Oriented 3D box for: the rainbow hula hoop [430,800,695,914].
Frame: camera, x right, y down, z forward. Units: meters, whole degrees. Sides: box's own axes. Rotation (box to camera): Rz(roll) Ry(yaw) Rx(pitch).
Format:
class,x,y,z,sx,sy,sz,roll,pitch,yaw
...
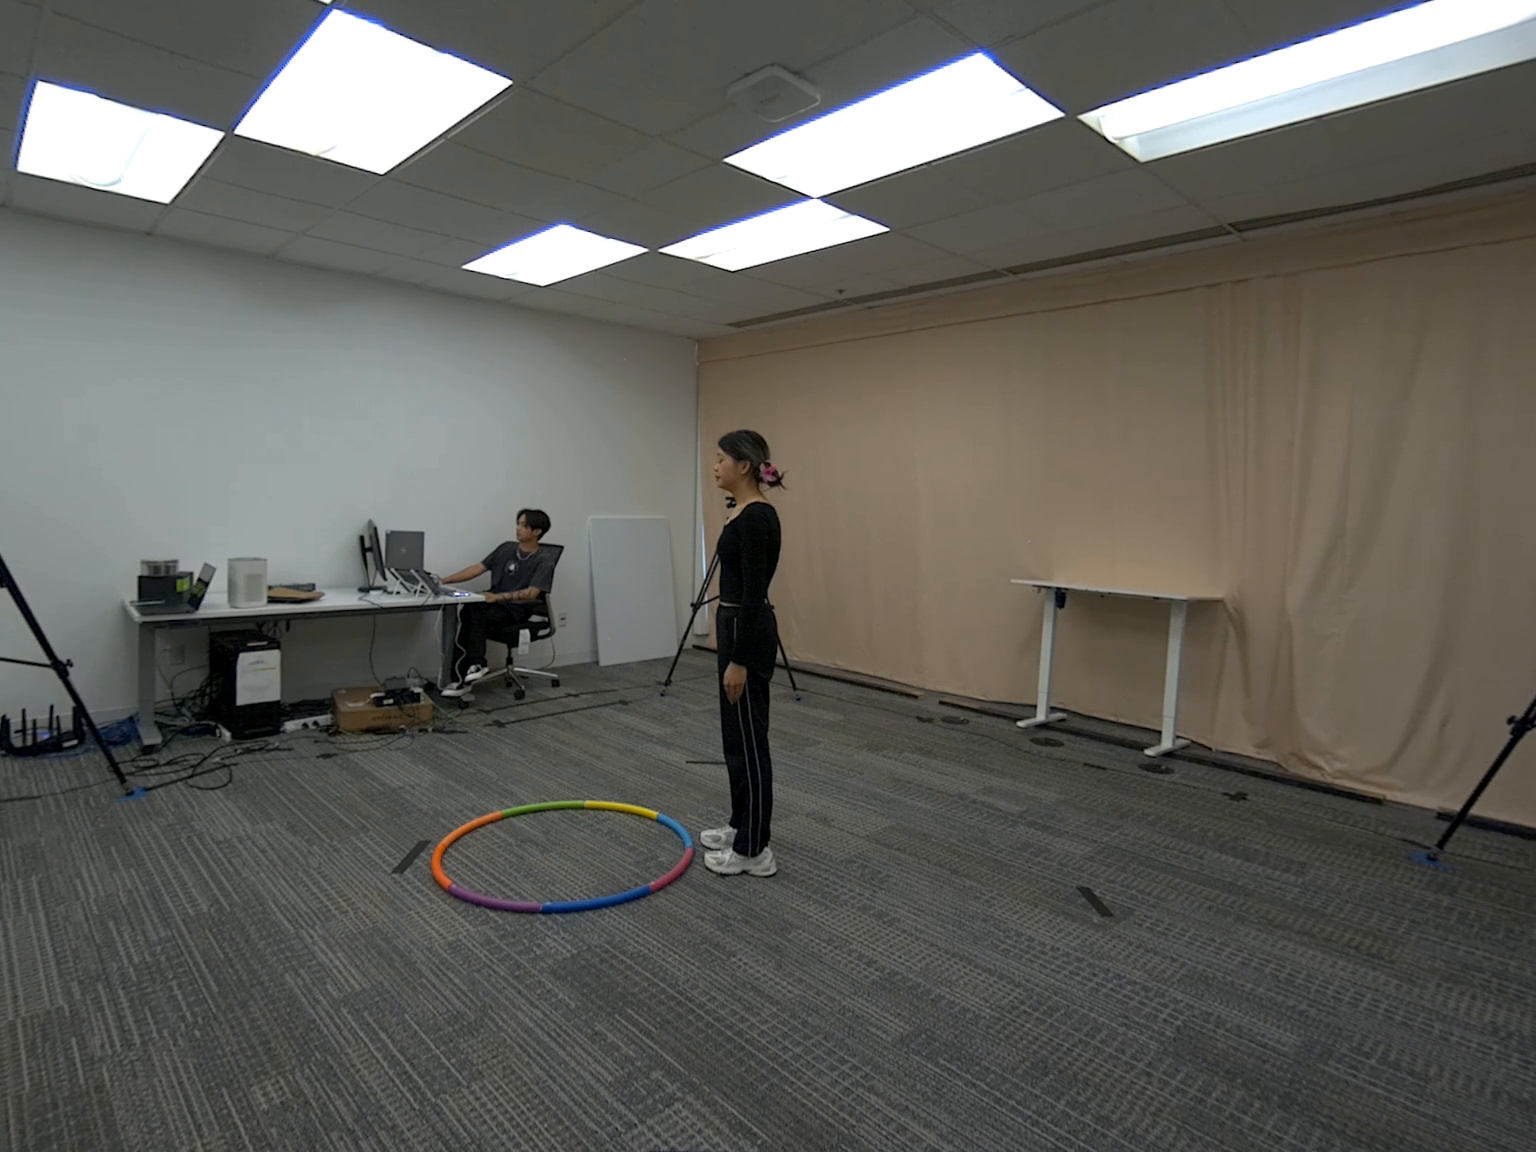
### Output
class,x,y,z,sx,sy,sz,roll,pitch,yaw
rainbow hula hoop,-0.789,1.052,3.270,0.978,0.035,0.982,2,5,-1
